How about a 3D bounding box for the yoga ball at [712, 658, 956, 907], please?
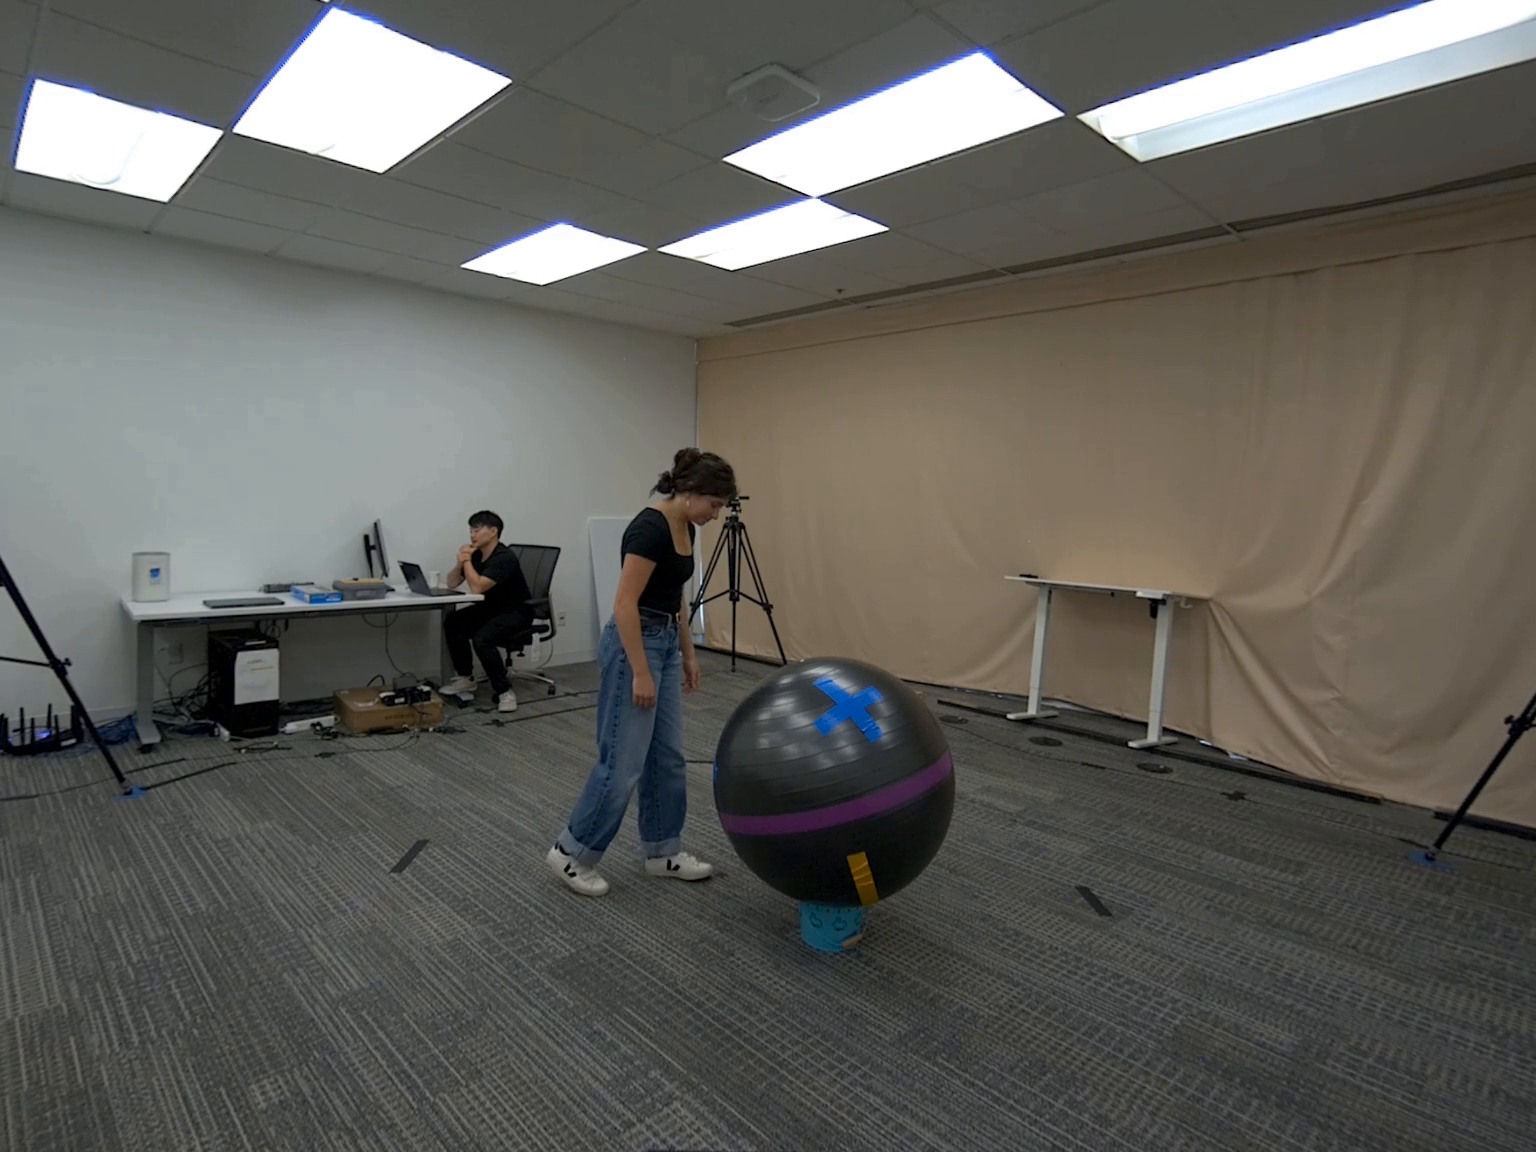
[{"bbox_3d":[0.202,0.648,2.656,0.757,0.756,0.761,1,4,-1],"label":"yoga ball"}]
